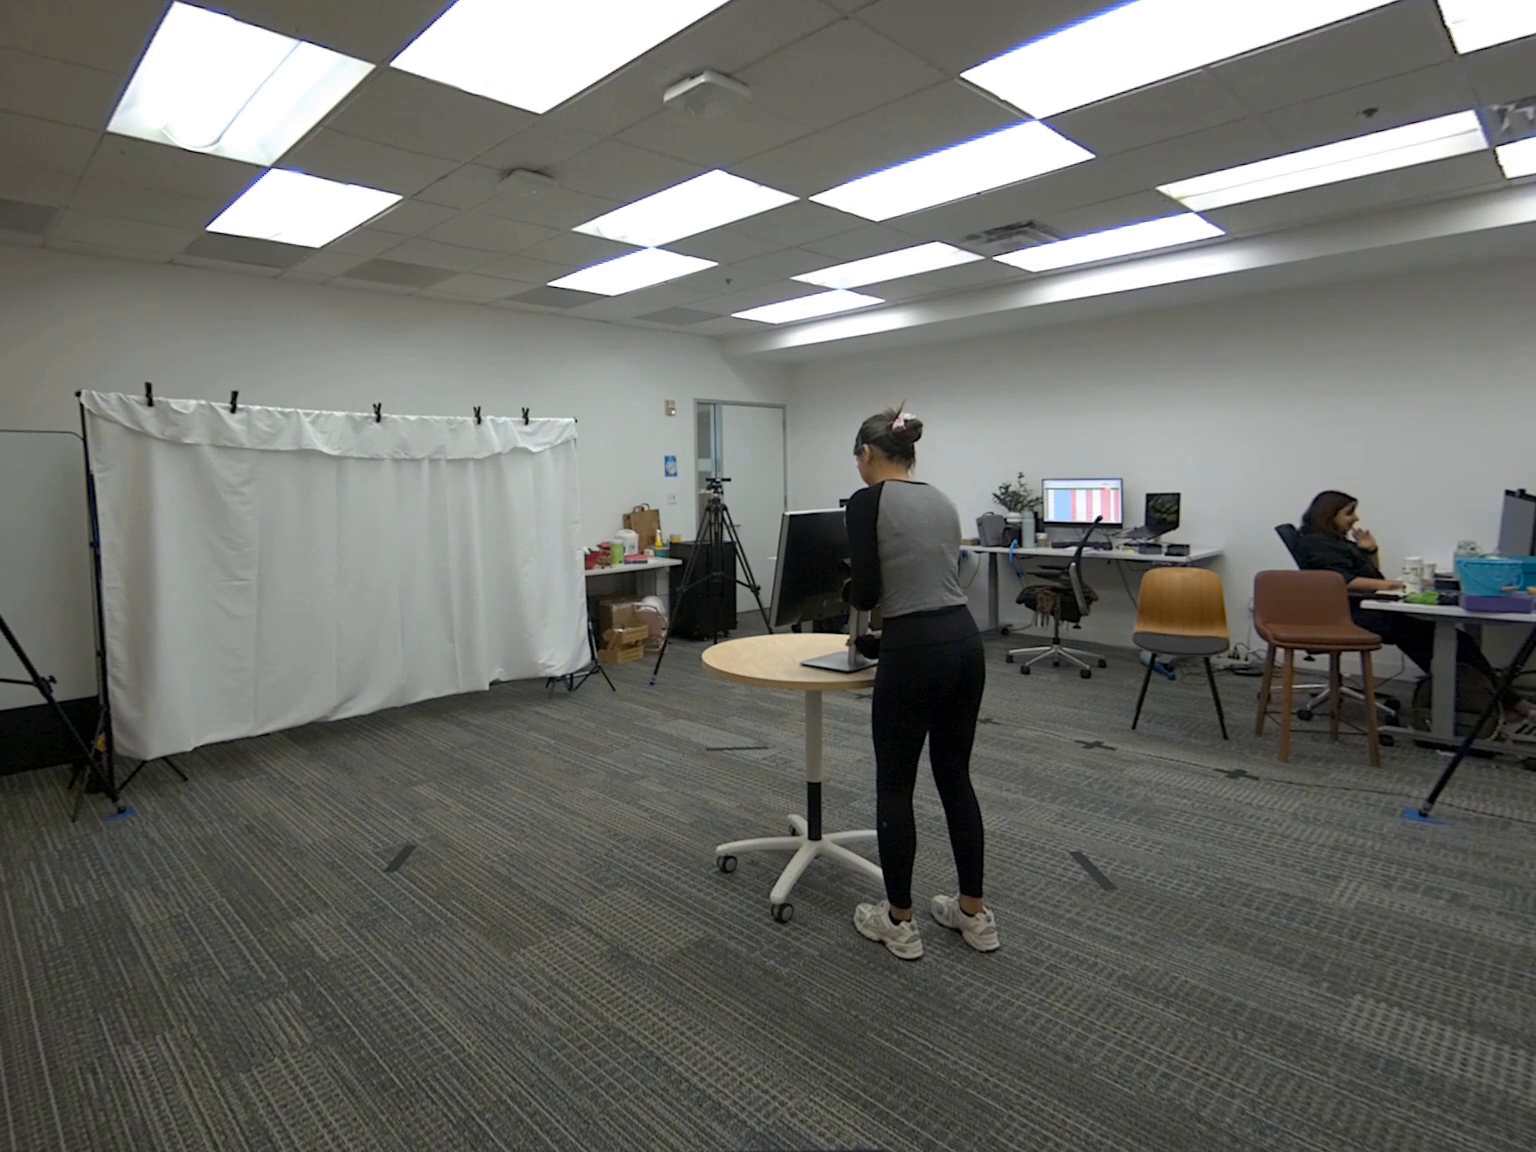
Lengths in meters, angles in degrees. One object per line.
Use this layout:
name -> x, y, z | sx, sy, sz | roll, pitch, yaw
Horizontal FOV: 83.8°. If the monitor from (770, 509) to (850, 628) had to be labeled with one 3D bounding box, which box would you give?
monitor -> 0.256, 0.043, 2.769 | 0.192, 0.521, 0.525 | -1, 4, 42
